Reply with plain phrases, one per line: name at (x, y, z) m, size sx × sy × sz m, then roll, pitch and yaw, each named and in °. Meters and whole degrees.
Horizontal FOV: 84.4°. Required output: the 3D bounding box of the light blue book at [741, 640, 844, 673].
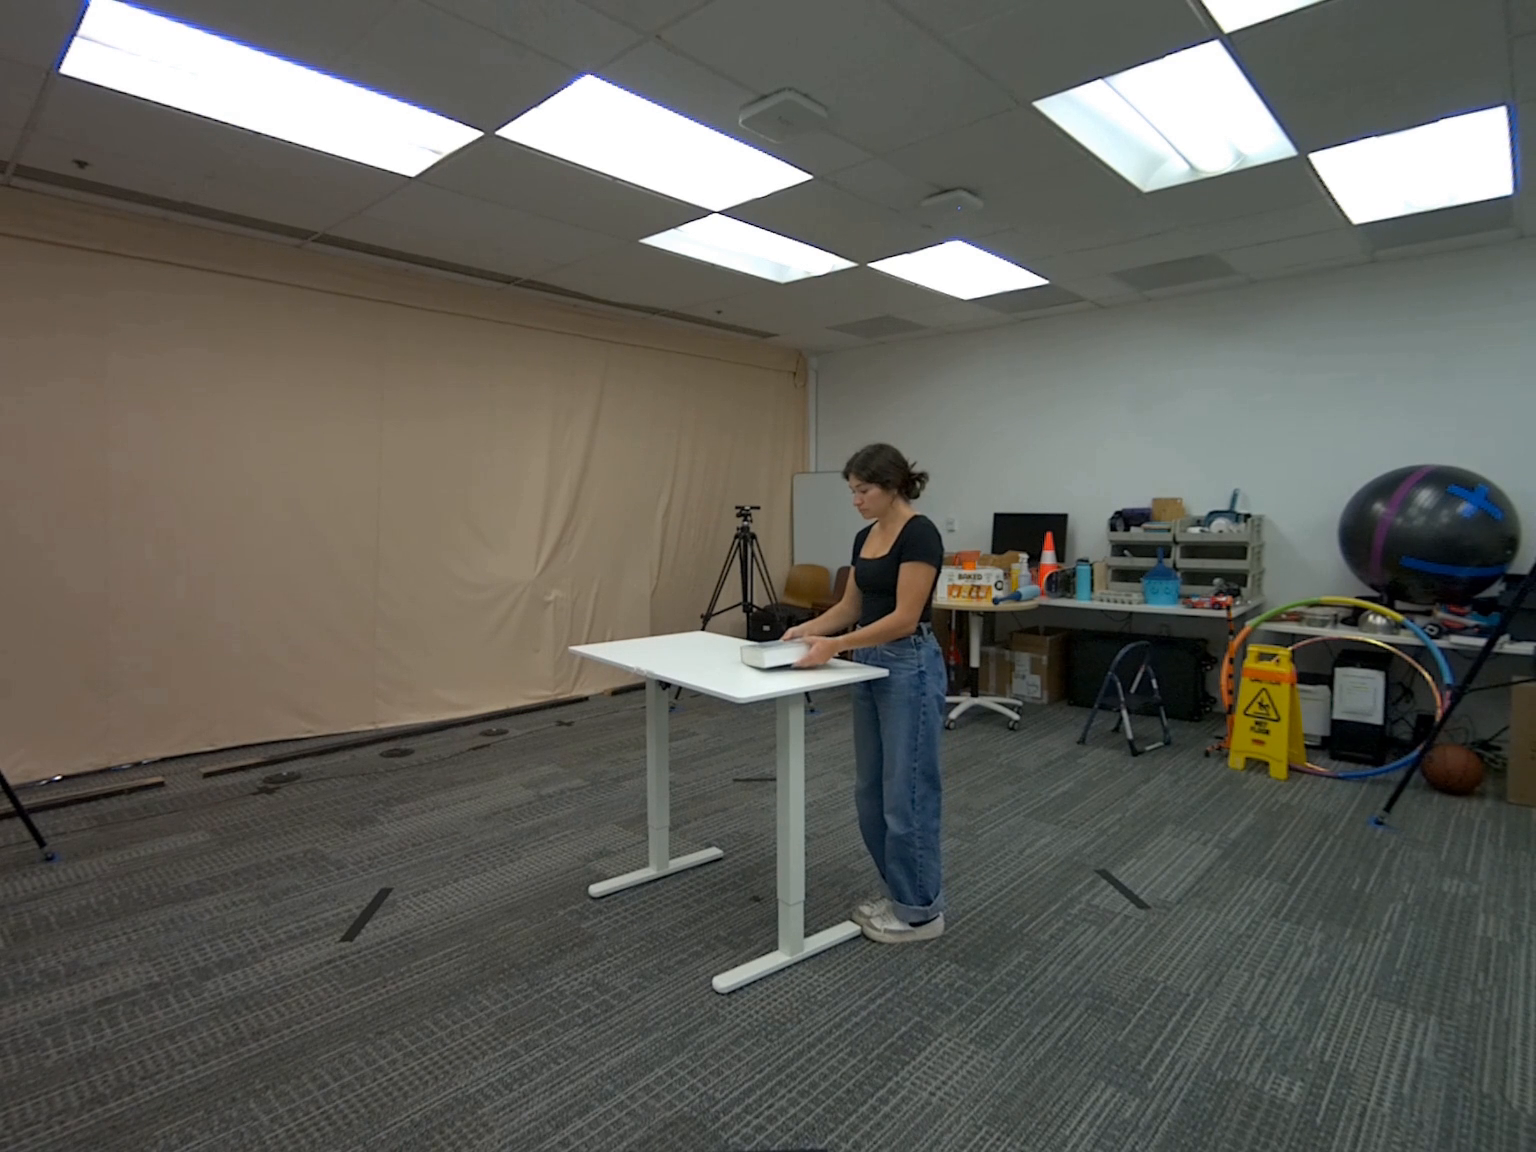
light blue book at (0.074, 0.250, 2.689) m, size 0.255 × 0.059 × 0.195 m, roll -5°, pitch 2°, yaw -23°
